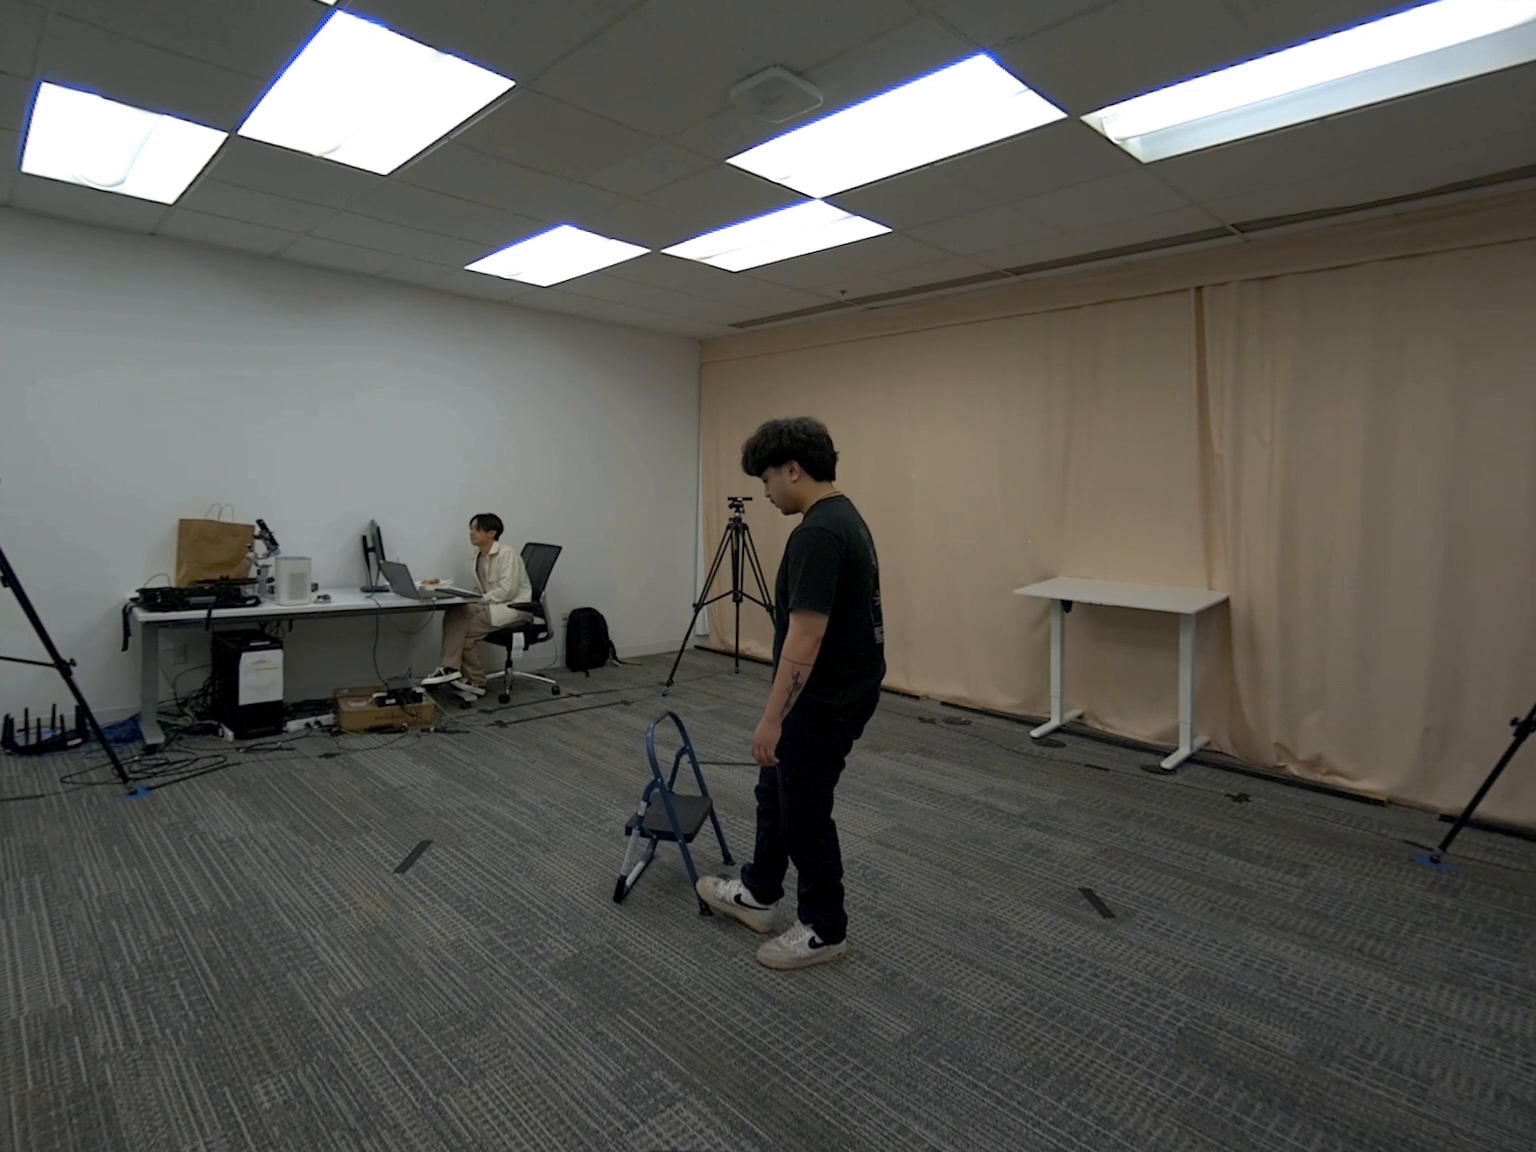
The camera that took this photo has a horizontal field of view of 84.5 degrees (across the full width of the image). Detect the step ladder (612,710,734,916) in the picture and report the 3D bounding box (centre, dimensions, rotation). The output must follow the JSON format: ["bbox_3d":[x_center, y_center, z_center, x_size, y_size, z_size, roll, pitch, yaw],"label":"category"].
[{"bbox_3d":[-0.339,0.809,3.037,0.352,0.604,0.428,2,4,9],"label":"step ladder"}]
